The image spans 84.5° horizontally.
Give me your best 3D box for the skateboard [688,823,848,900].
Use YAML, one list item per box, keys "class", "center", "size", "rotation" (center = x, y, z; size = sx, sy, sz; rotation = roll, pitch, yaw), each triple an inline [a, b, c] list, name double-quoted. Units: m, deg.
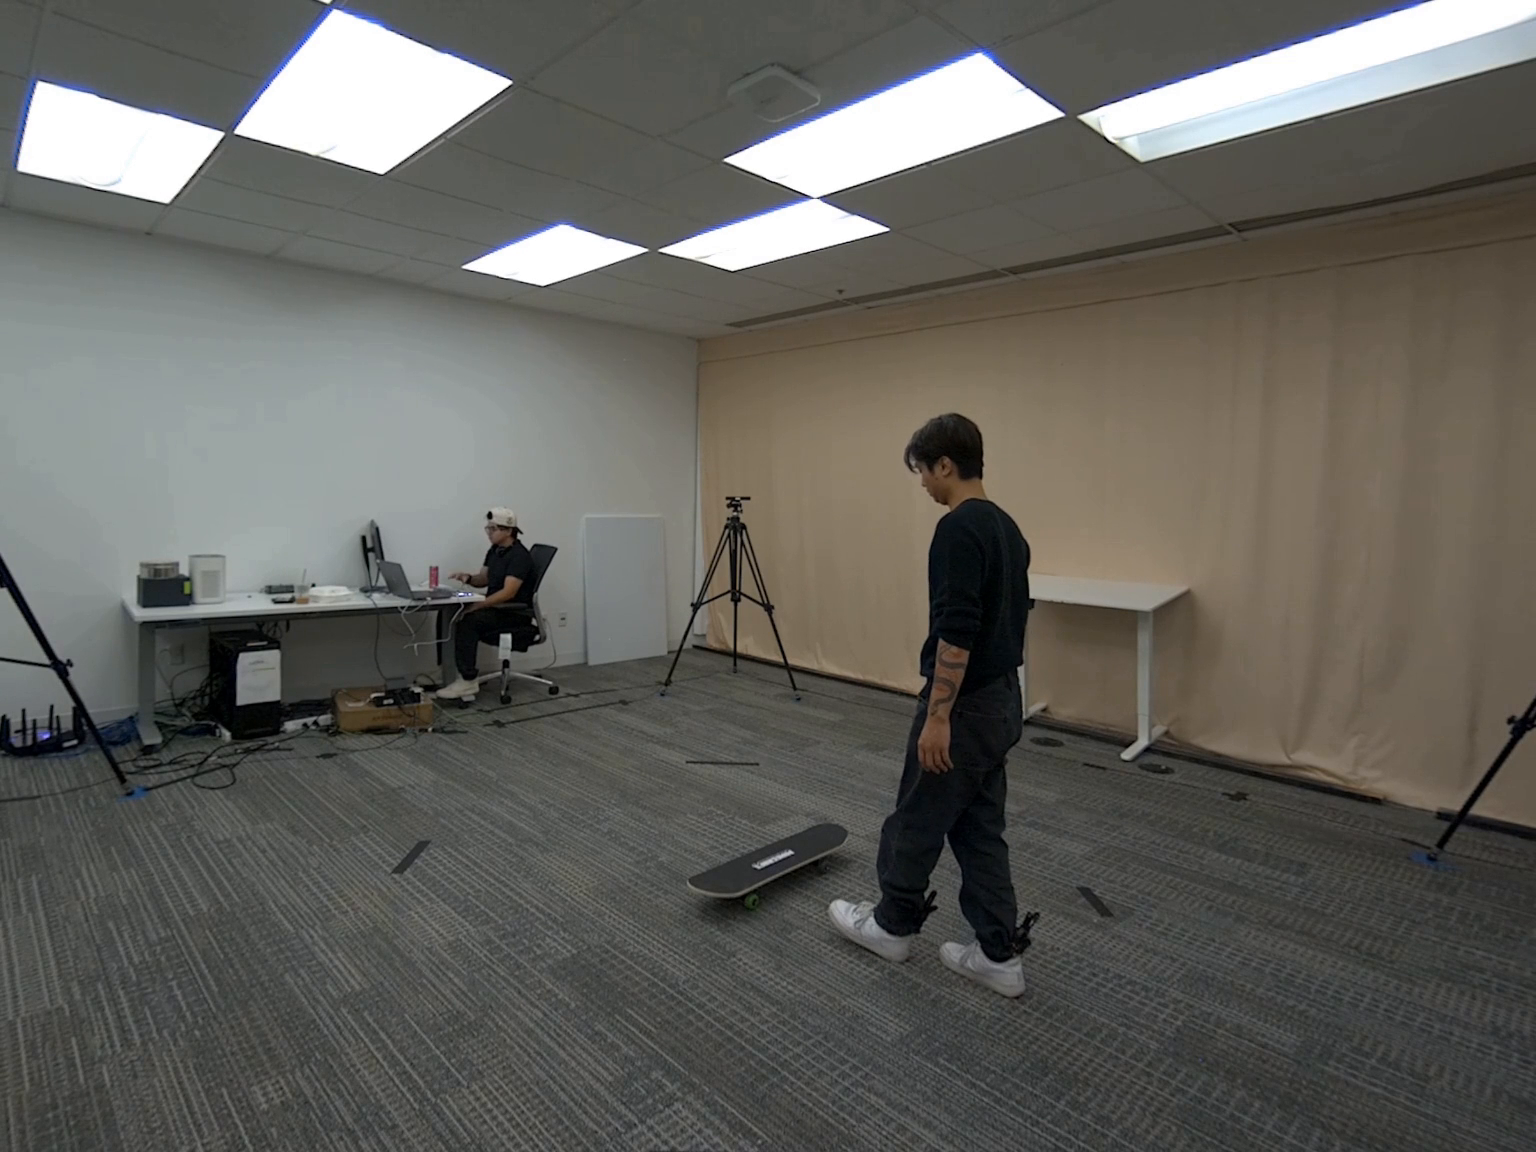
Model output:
- class: "skateboard"
  center: [0.014, 1.054, 3.045]
  size: [0.198, 0.110, 0.768]
  rotation: [5, 6, 42]
